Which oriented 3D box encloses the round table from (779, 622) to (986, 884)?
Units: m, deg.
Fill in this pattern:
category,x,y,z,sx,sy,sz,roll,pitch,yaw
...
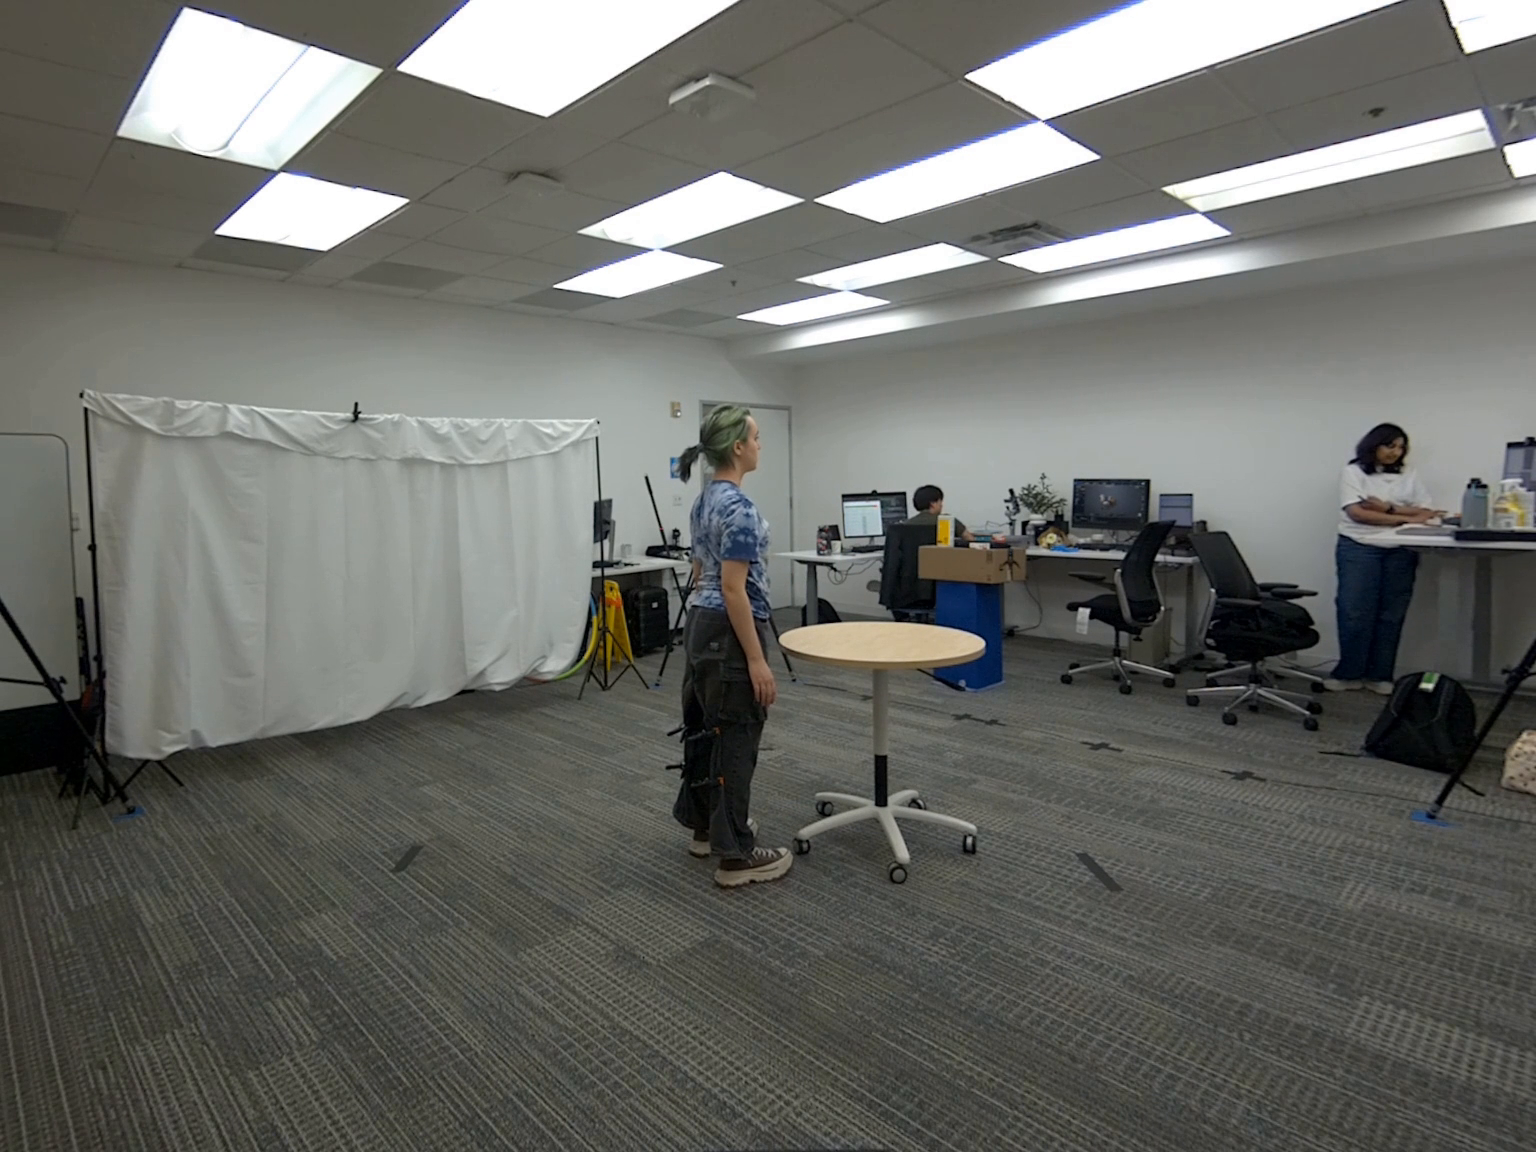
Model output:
category,x,y,z,sx,sy,sz,roll,pitch,yaw
round table,0.436,0.633,3.262,0.763,0.791,0.768,-1,5,-2
